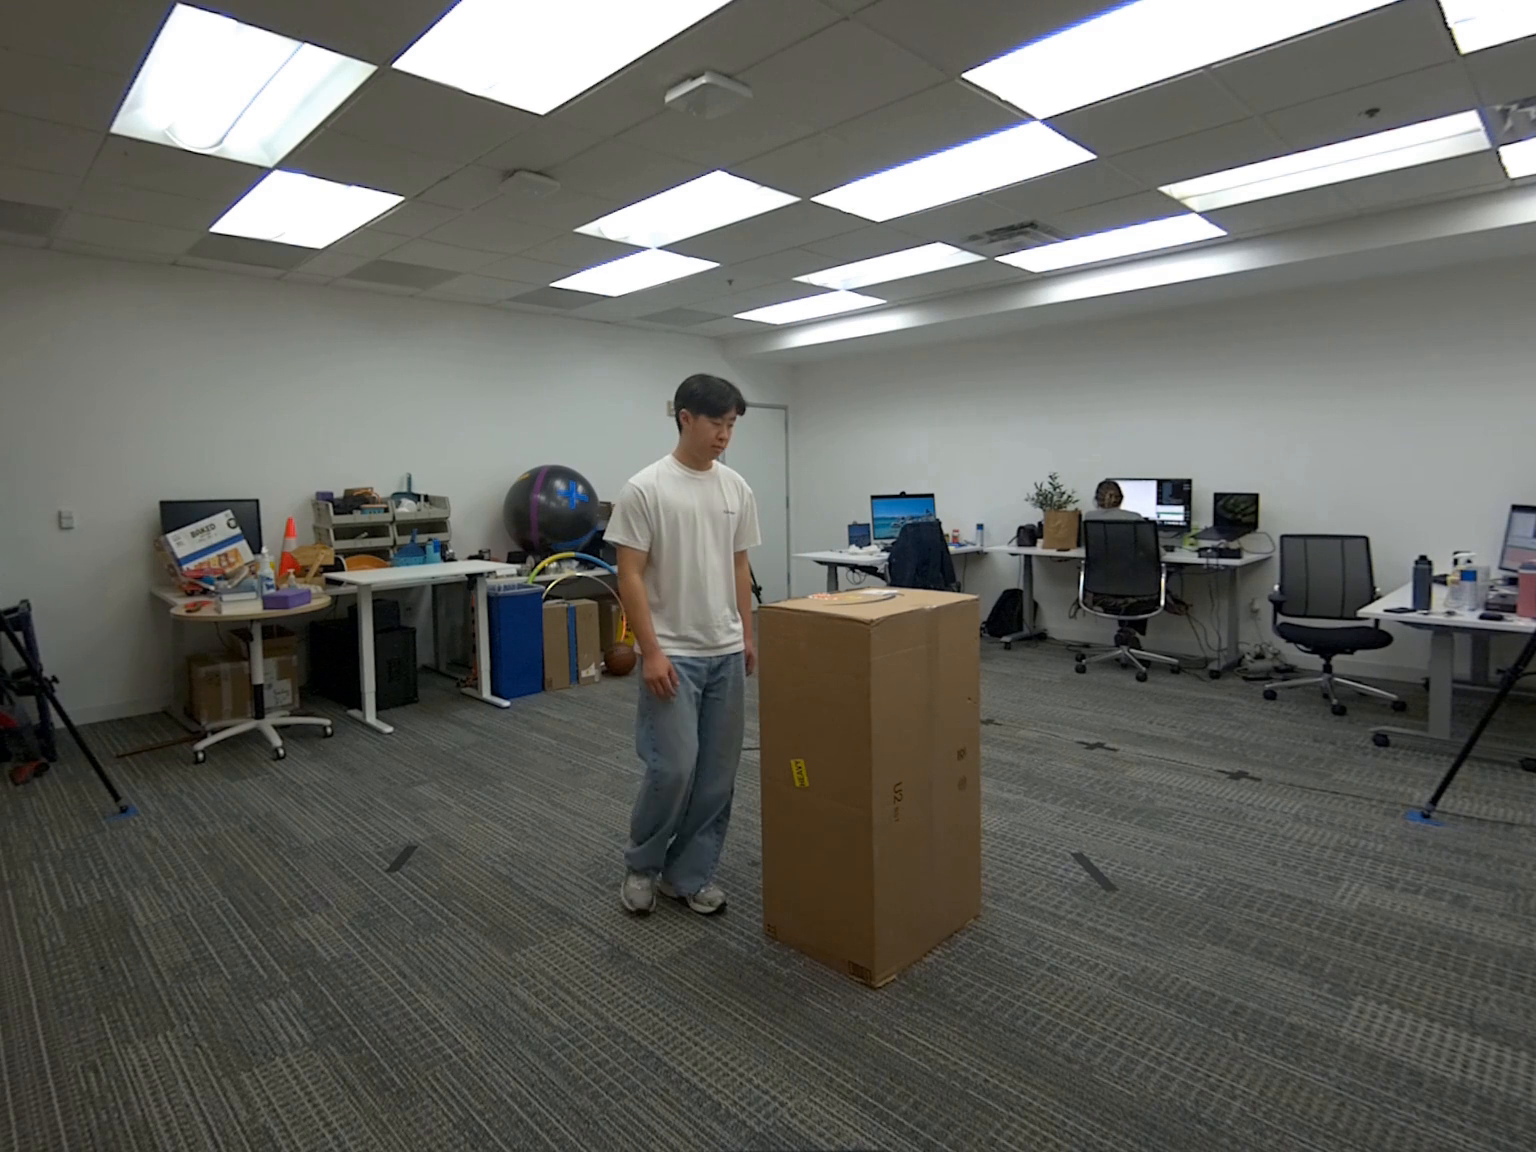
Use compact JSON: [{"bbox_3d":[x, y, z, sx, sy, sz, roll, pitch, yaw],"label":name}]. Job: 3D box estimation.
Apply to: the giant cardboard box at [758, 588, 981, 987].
[{"bbox_3d":[0.326,0.583,2.645,0.439,1.022,0.562,2,5,44],"label":"giant cardboard box"}]
